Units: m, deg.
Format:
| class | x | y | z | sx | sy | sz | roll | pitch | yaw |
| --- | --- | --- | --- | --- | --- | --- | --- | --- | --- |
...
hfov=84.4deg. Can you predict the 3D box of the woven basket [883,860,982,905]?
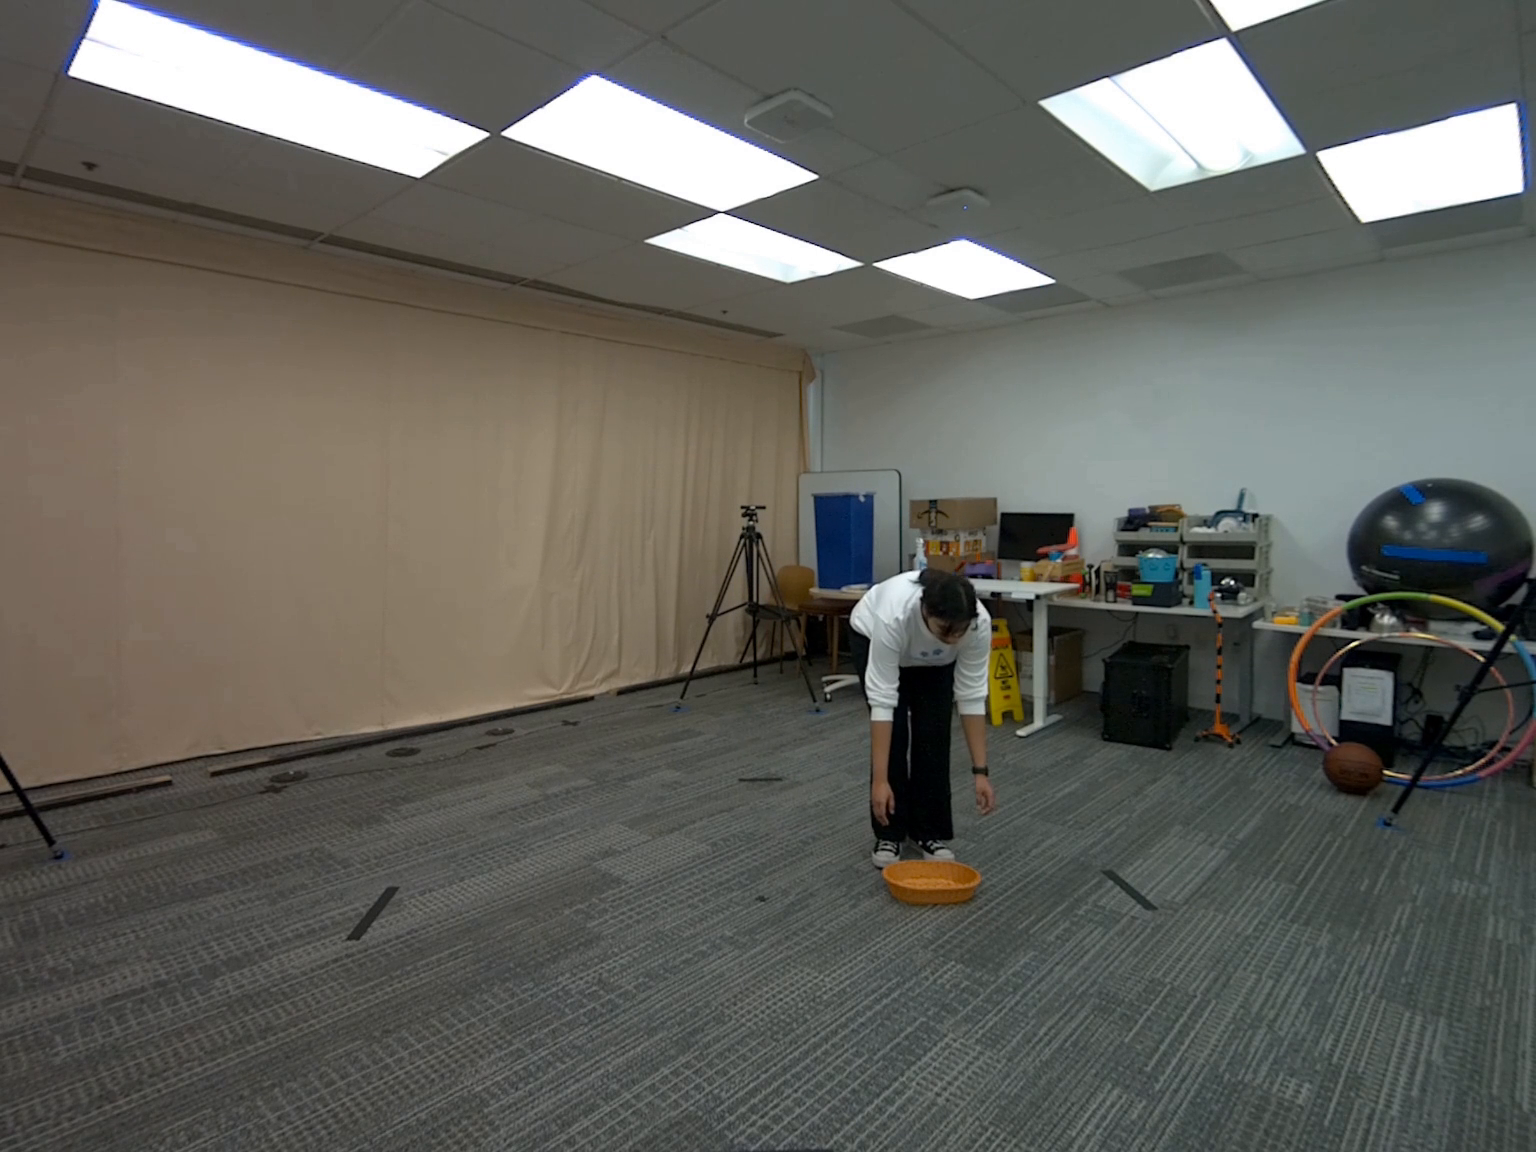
| class | x | y | z | sx | sy | sz | roll | pitch | yaw |
| --- | --- | --- | --- | --- | --- | --- | --- | --- | --- |
| woven basket | 0.580 | 1.093 | 3.019 | 0.350 | 0.073 | 0.253 | -1 | 3 | 0 |
